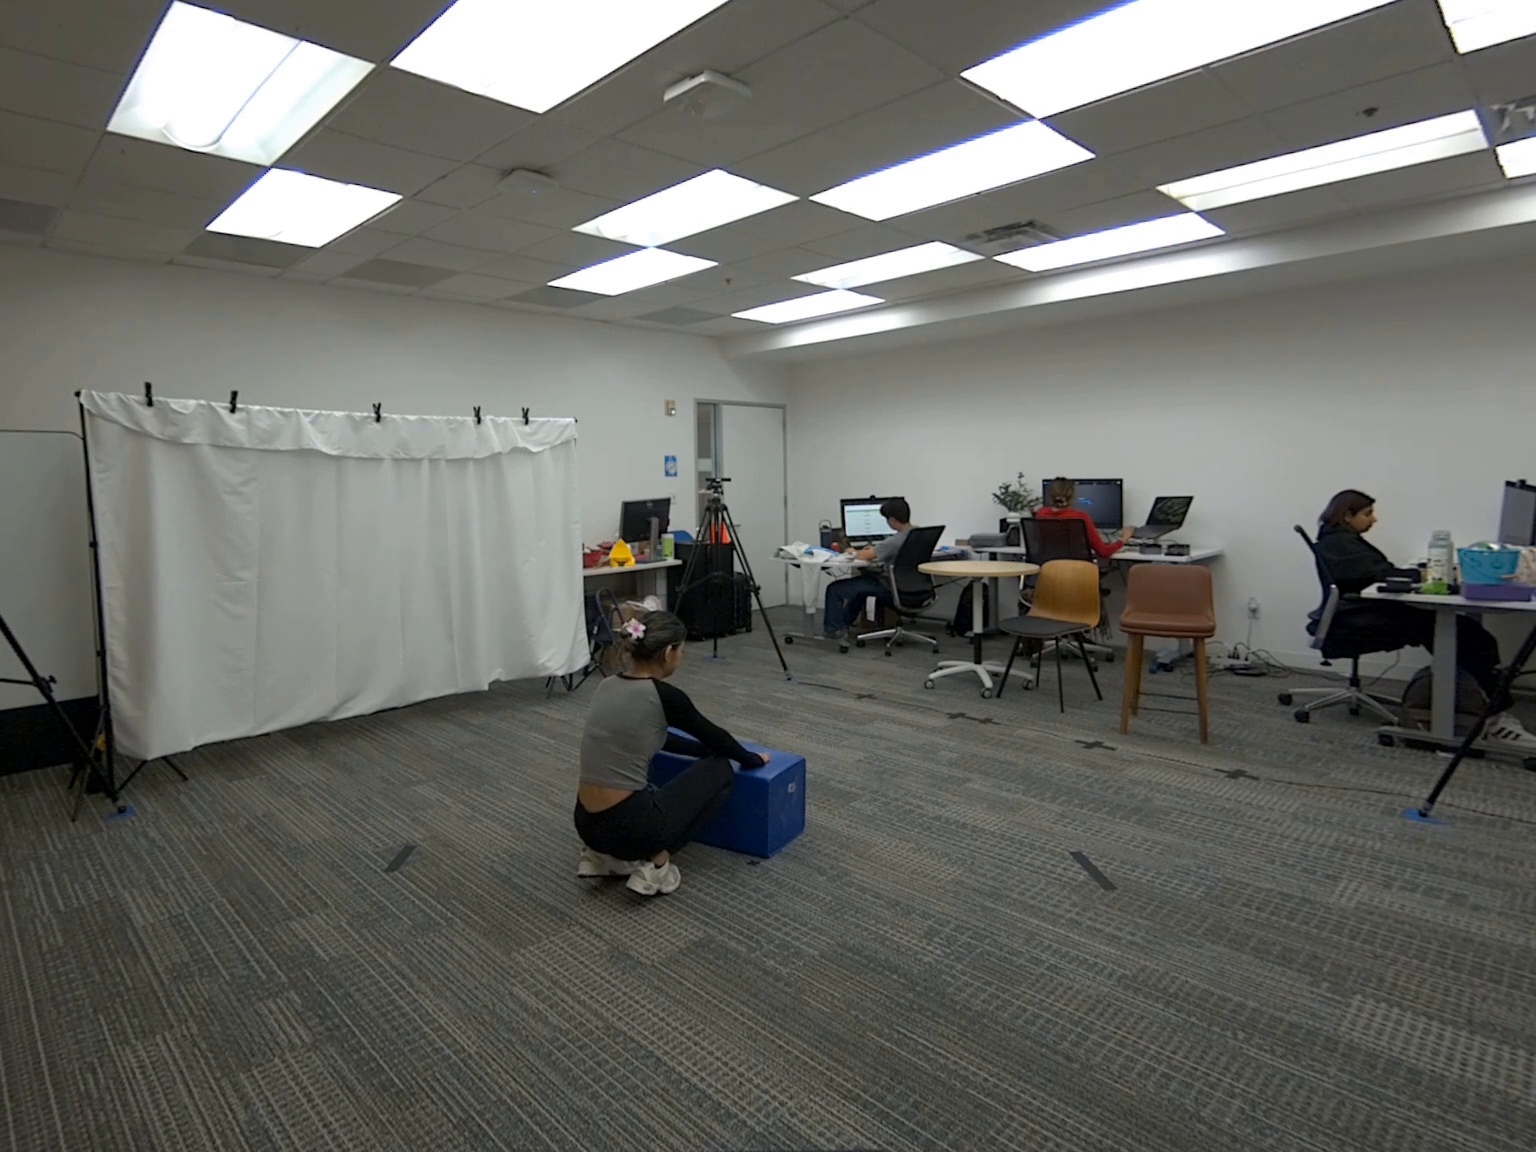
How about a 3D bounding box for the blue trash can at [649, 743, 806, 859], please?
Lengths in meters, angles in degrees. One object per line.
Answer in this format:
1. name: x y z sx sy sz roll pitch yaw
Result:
1. blue trash can: -0.235 0.841 3.424 0.734 0.376 0.365 5 6 31
